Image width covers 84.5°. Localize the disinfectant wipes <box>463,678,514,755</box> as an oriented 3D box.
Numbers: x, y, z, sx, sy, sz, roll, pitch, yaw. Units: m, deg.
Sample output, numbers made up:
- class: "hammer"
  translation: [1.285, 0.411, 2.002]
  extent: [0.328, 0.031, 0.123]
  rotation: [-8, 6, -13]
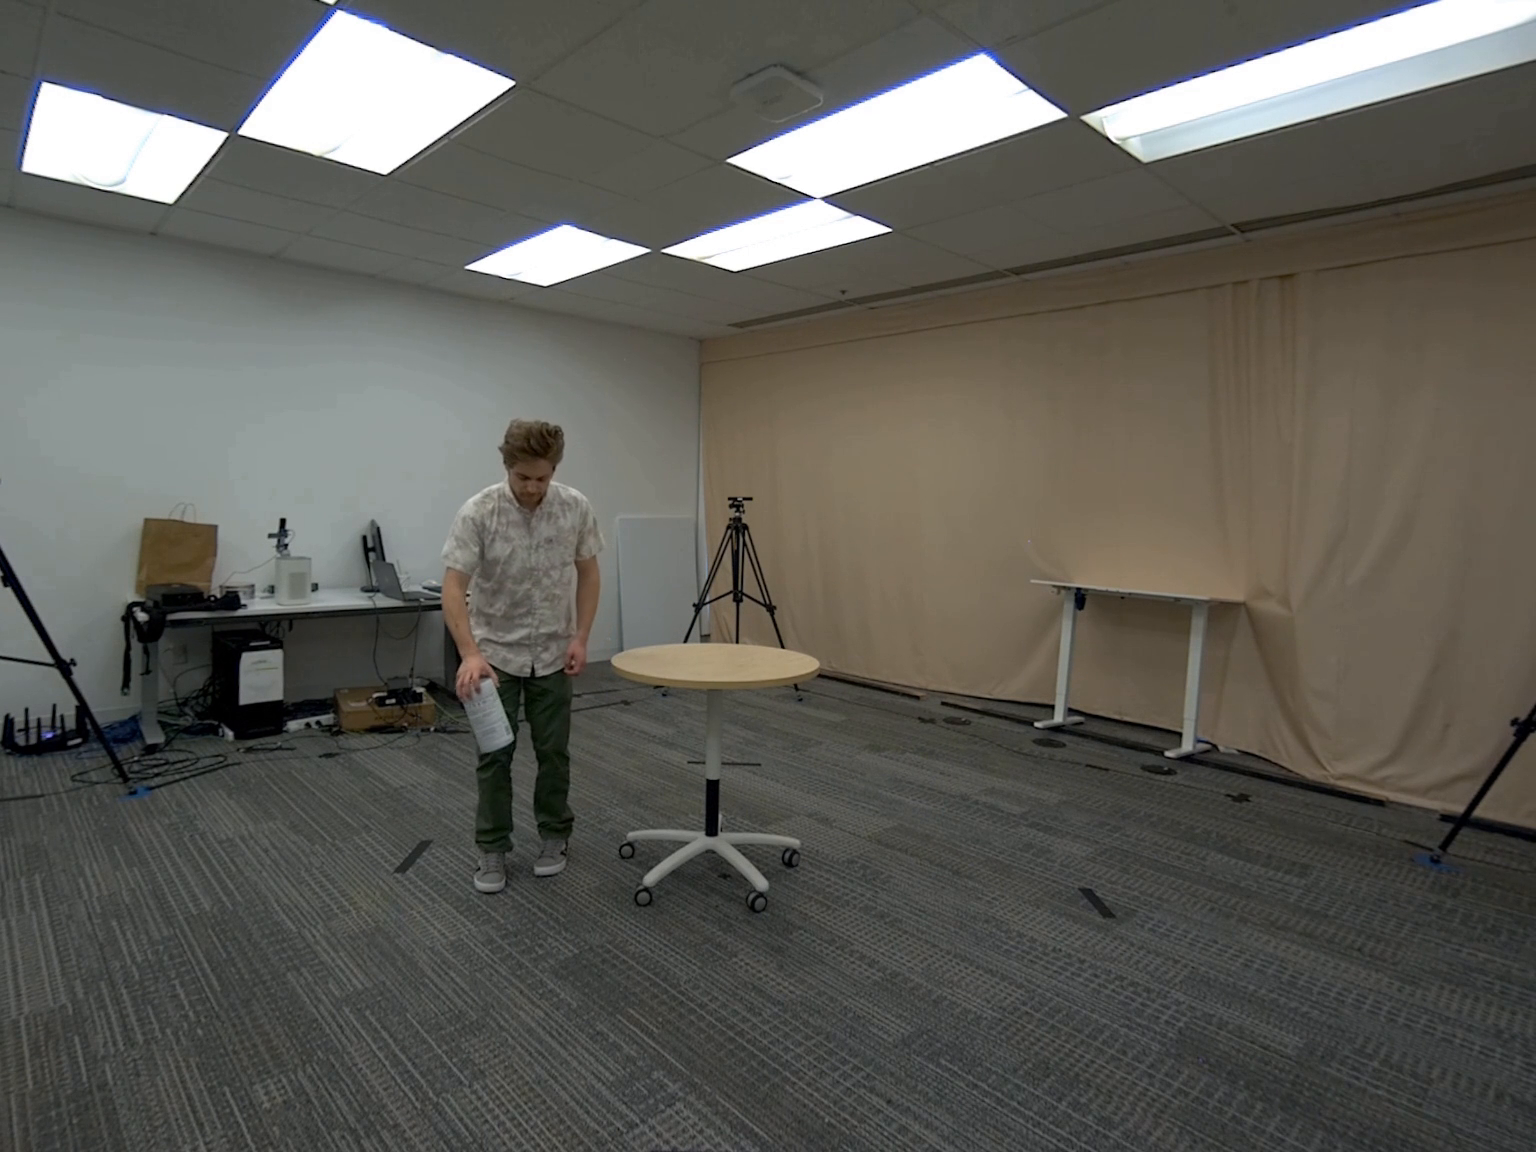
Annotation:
- class: "disinfectant wipes"
  translation: [-0.916, 0.449, 2.682]
  extent: [0.118, 0.216, 0.118]
  rotation: [-15, 5, 0]
